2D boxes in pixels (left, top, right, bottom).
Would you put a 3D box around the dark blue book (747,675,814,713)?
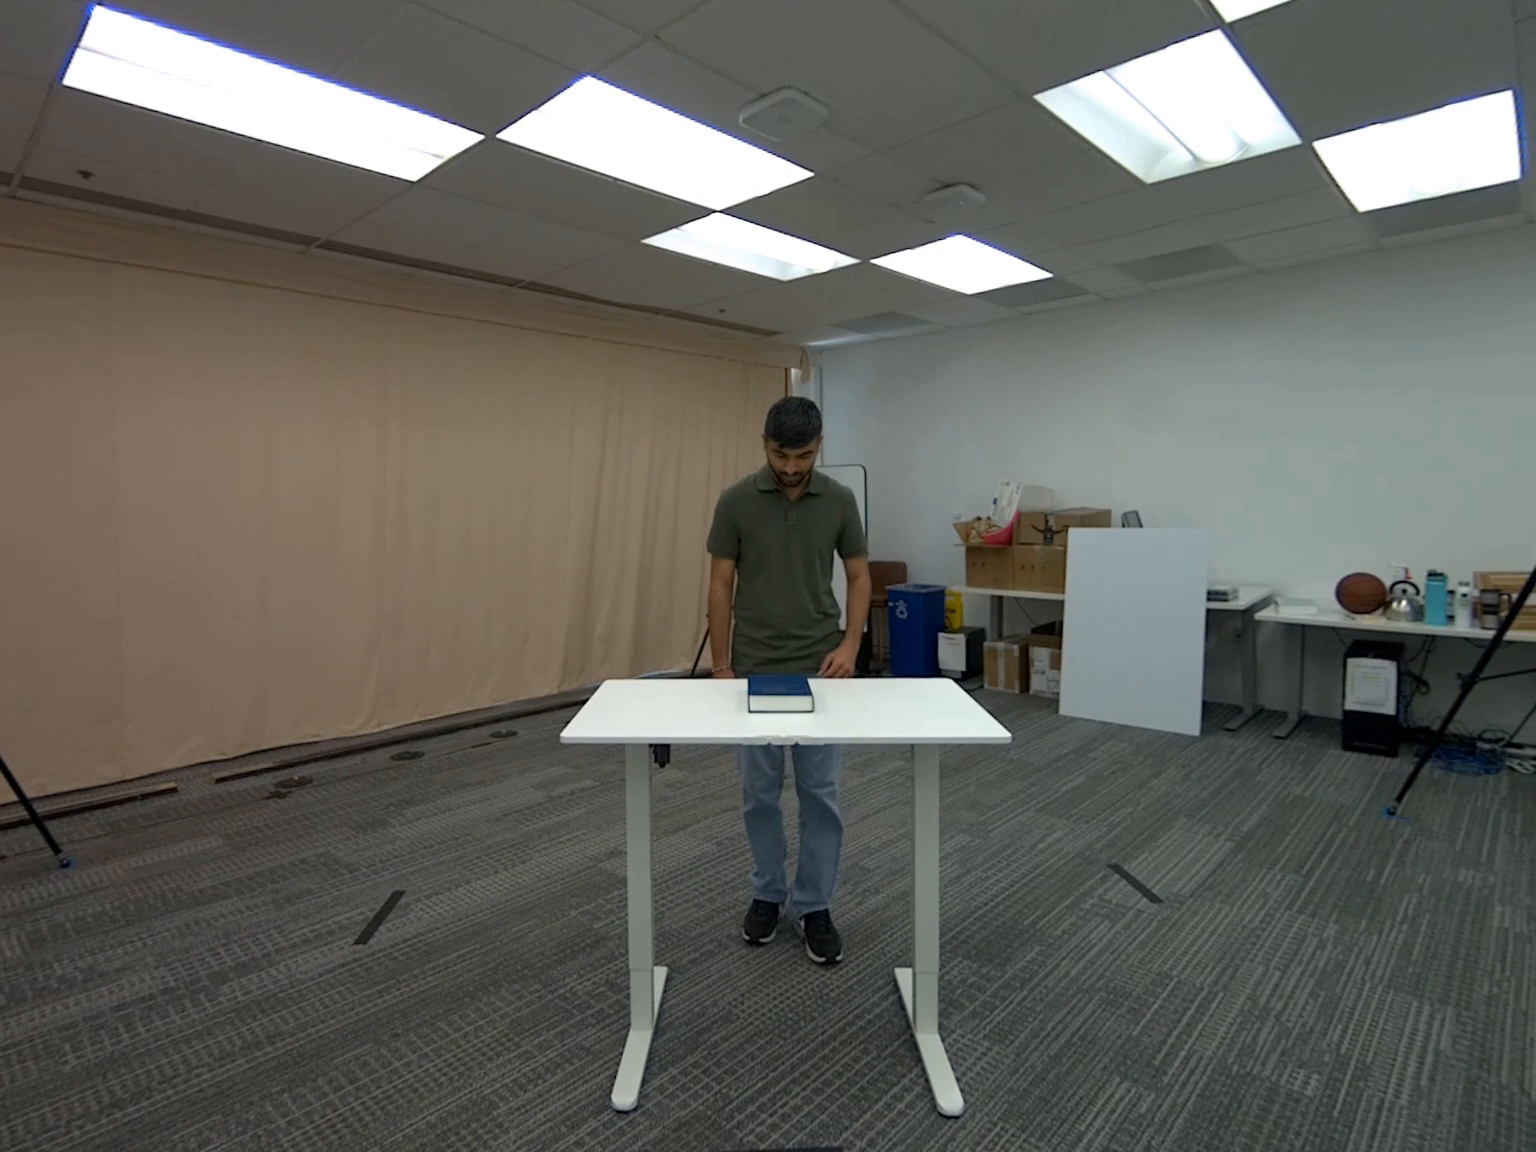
[{"bbox_3d":[0.039,0.302,2.188,0.163,0.045,0.246,-1,6,-2],"label":"dark blue book"}]
